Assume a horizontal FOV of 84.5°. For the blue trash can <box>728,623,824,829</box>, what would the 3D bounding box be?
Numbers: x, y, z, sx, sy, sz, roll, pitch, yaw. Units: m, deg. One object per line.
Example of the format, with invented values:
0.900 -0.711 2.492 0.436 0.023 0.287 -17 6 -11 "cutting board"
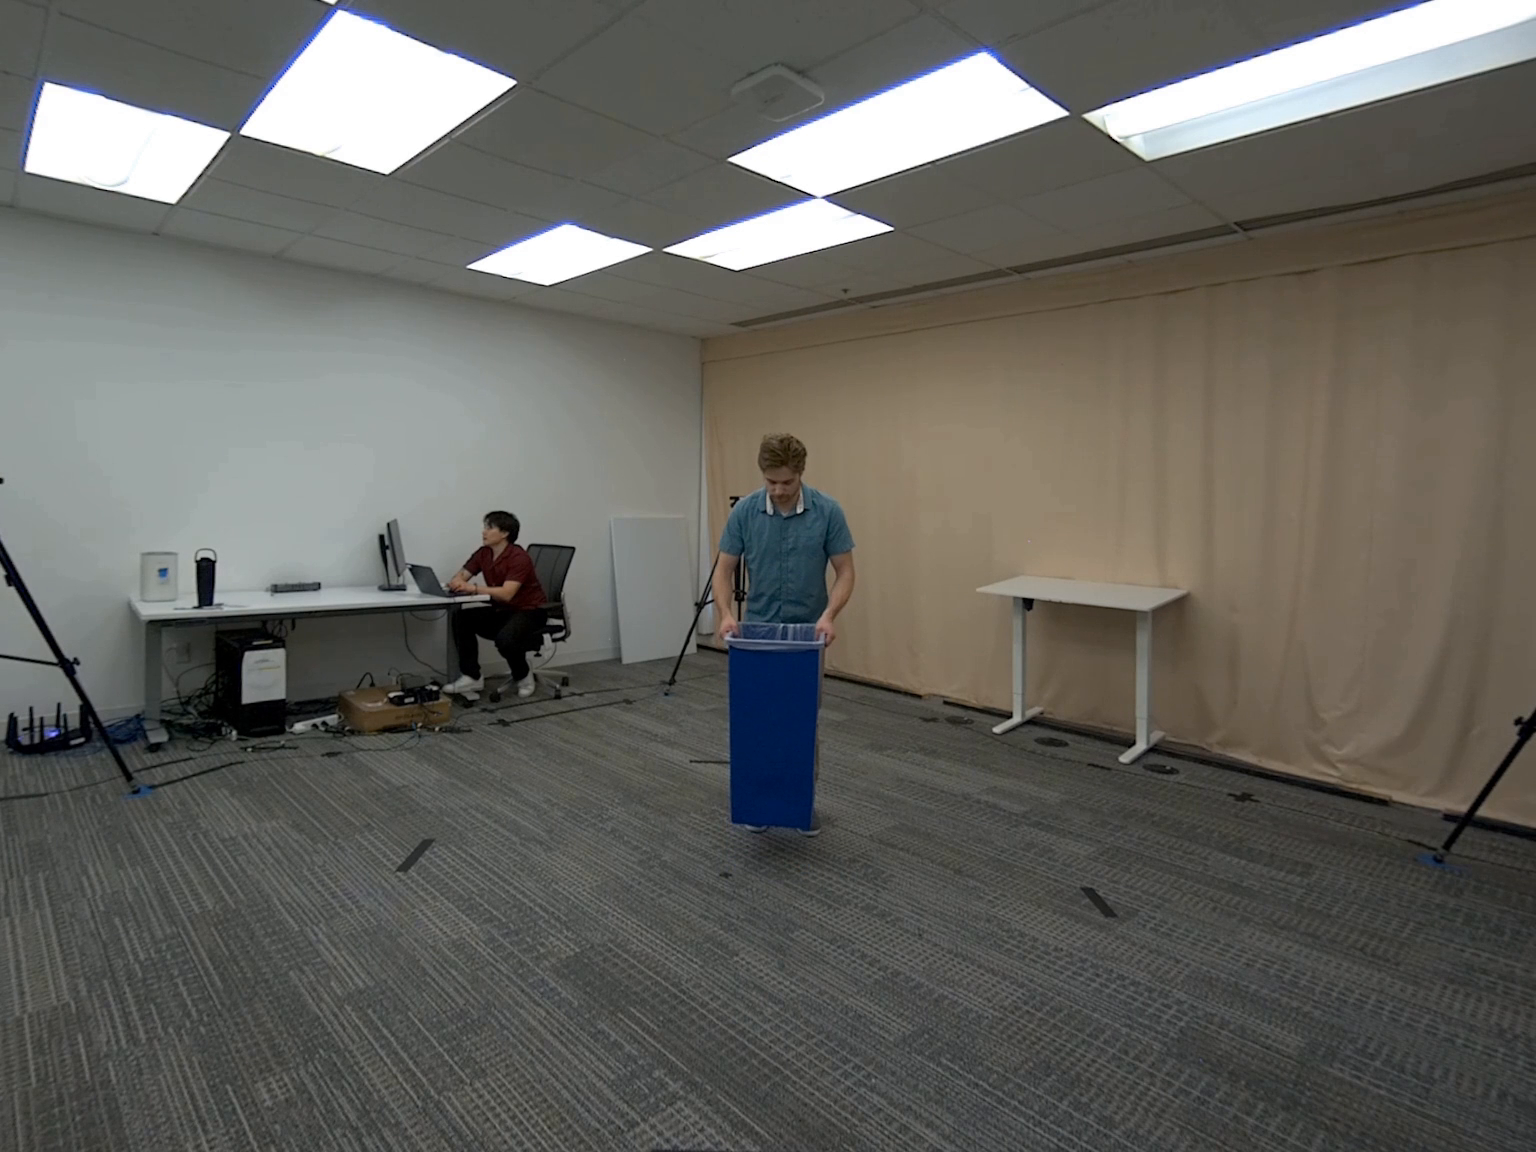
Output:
0.012 0.583 3.269 0.376 0.711 0.377 2 4 5 "blue trash can"
